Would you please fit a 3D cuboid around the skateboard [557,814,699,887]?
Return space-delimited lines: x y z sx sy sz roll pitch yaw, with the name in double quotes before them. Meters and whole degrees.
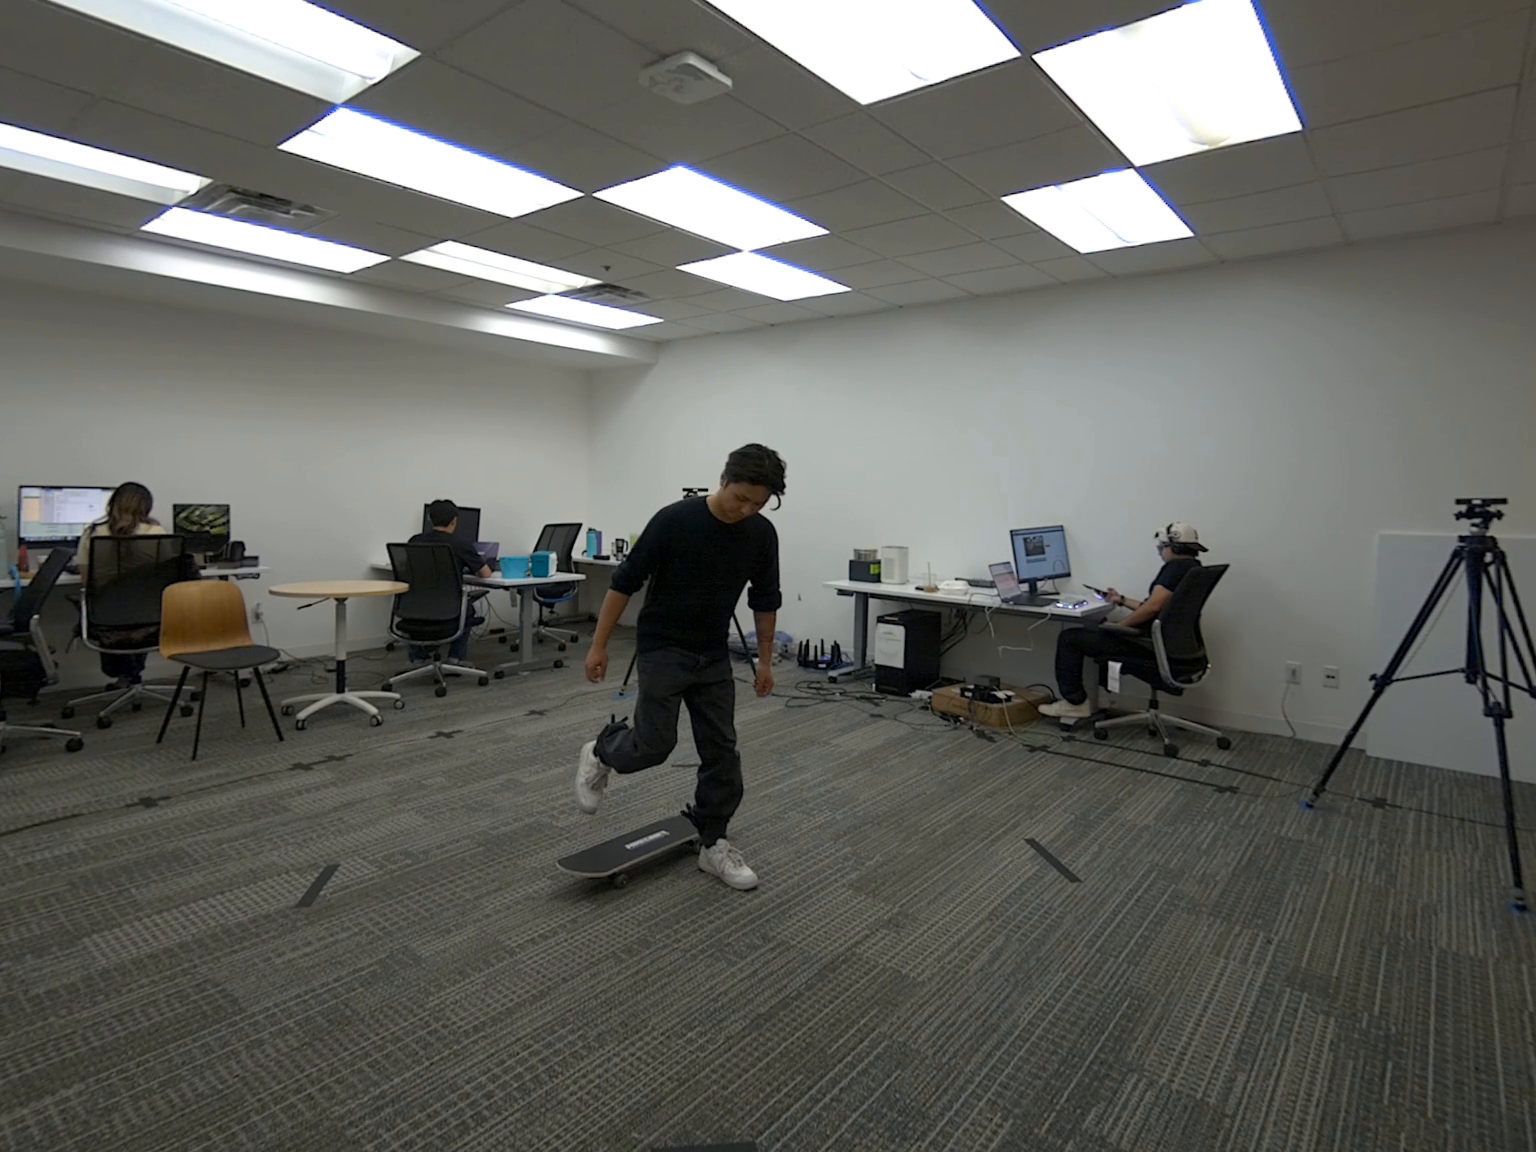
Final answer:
"skateboard" -0.455 1.004 3.150 0.200 0.110 0.762 5 7 40
